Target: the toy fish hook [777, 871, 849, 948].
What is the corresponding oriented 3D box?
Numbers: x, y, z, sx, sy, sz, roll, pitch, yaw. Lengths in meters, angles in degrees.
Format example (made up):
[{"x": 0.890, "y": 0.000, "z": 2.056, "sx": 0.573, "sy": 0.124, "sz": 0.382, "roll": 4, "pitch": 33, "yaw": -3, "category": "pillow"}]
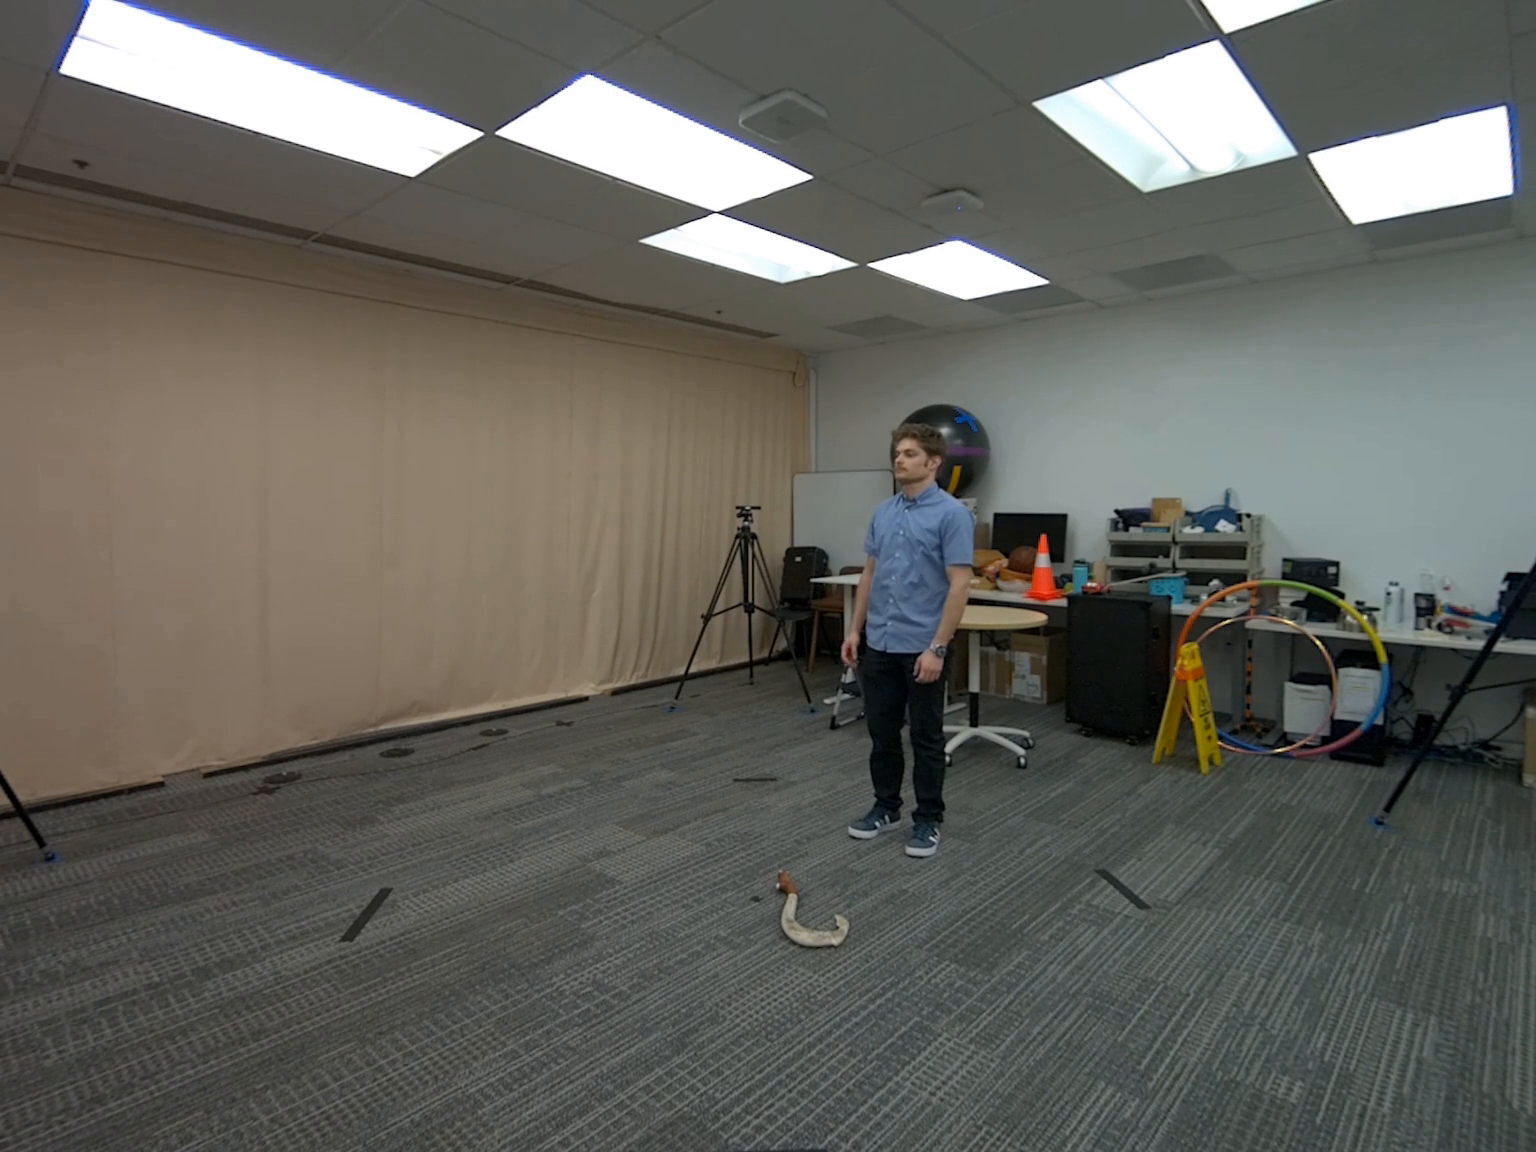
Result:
[{"x": 0.142, "y": 1.136, "z": 2.892, "sx": 0.223, "sy": 0.048, "sz": 0.511, "roll": 8, "pitch": 4, "yaw": -7, "category": "toy fish hook"}]
